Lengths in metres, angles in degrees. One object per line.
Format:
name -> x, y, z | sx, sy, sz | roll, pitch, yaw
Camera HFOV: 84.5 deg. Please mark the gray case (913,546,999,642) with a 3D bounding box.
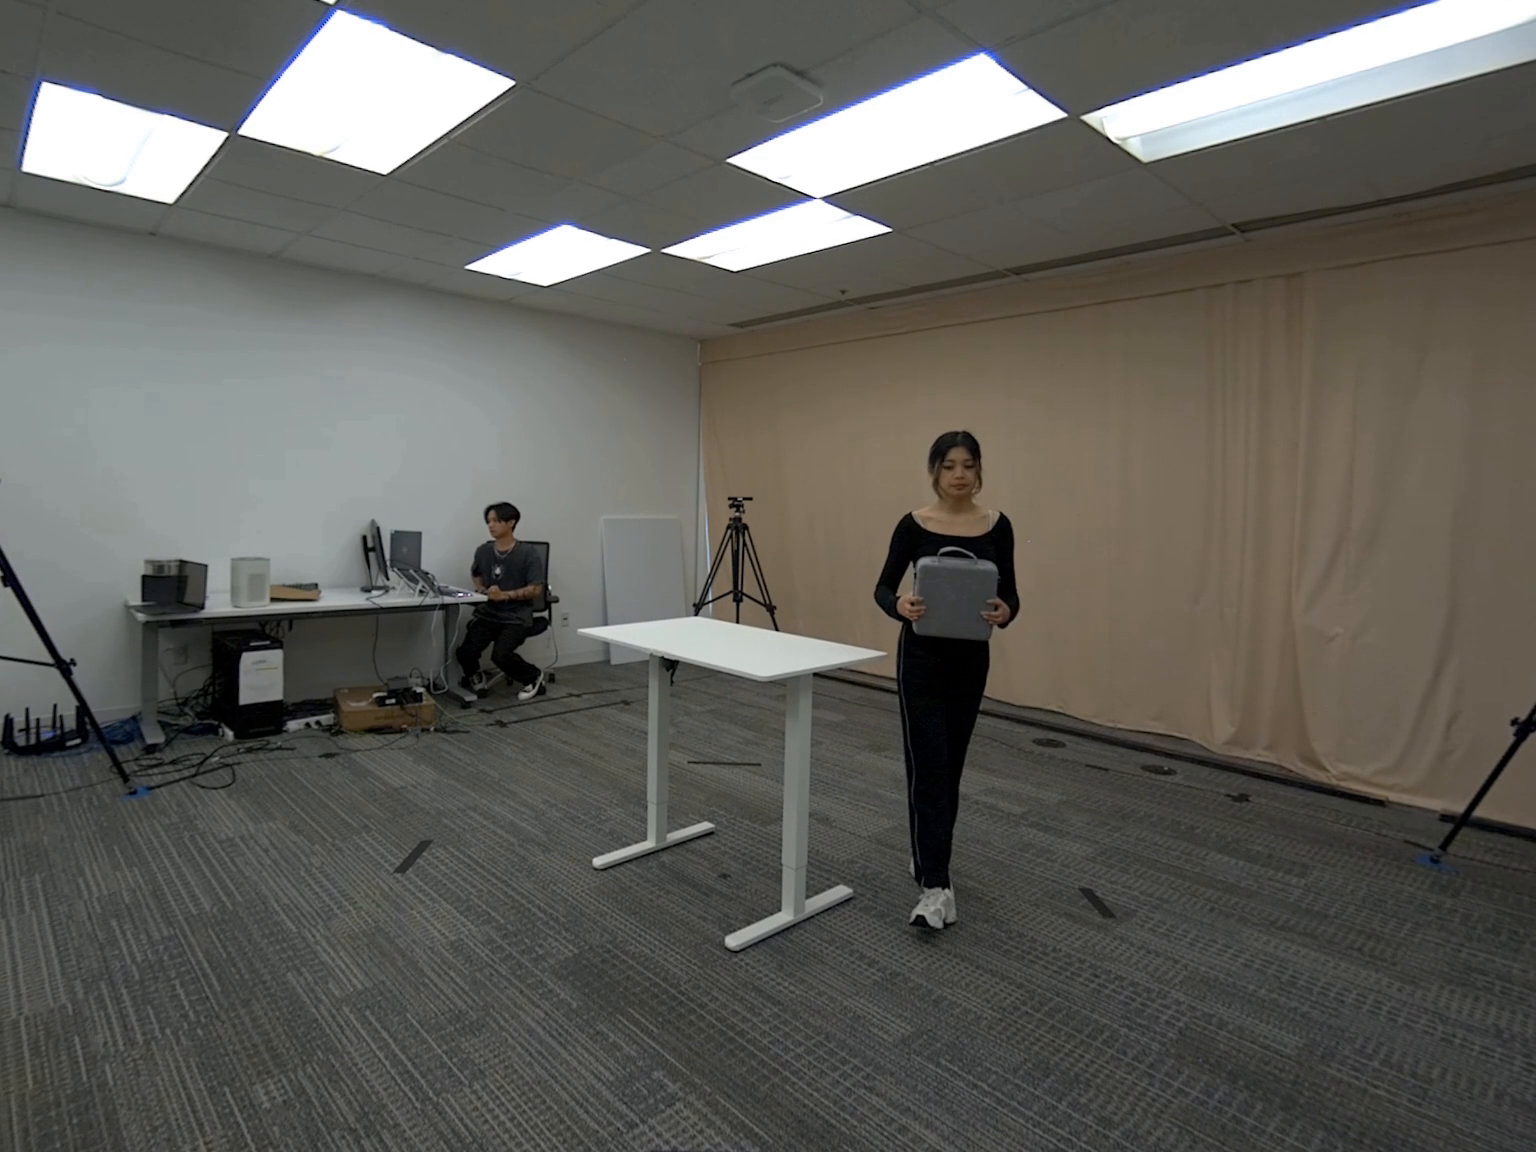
gray case -> 0.595, 0.068, 2.710 | 0.258, 0.258, 0.105 | 2, 14, 6
